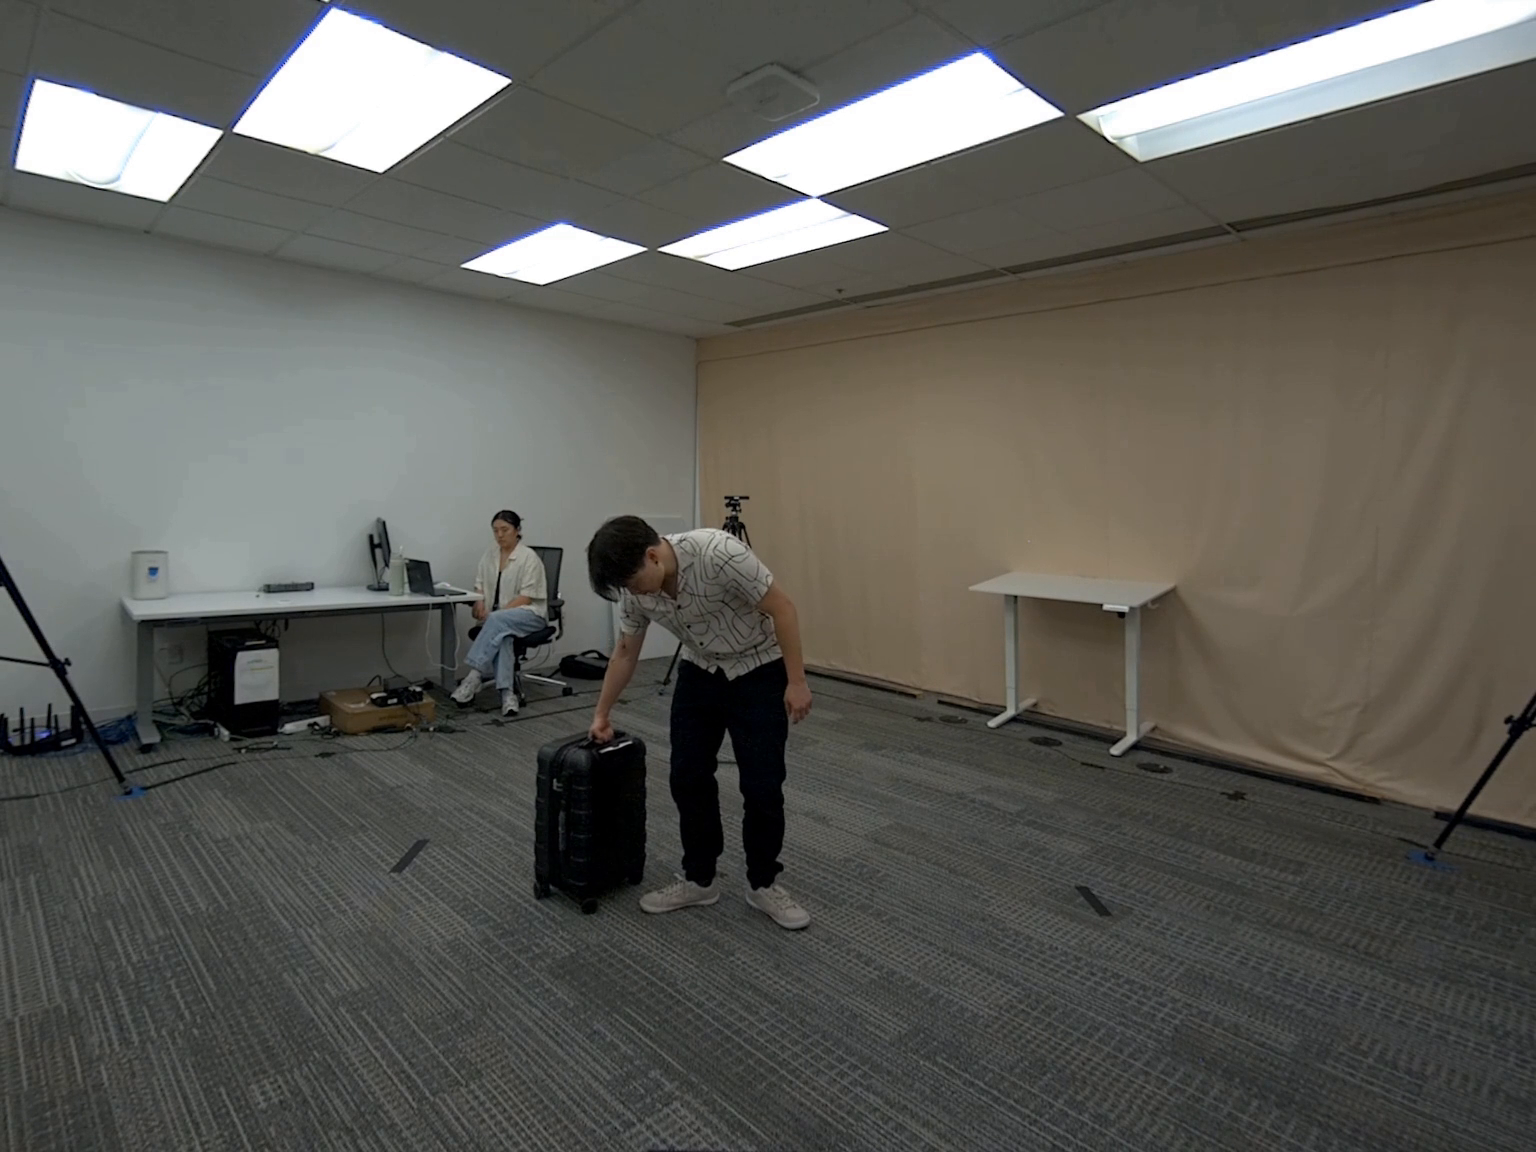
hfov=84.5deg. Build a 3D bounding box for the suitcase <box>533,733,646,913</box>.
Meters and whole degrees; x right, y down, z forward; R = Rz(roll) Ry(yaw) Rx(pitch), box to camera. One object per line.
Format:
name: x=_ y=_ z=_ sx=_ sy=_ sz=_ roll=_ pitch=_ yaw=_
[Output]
suitcase: x=-0.627 y=0.827 z=2.964 sx=0.254 sy=0.548 sz=0.367 roll=3 pitch=3 yaw=33
